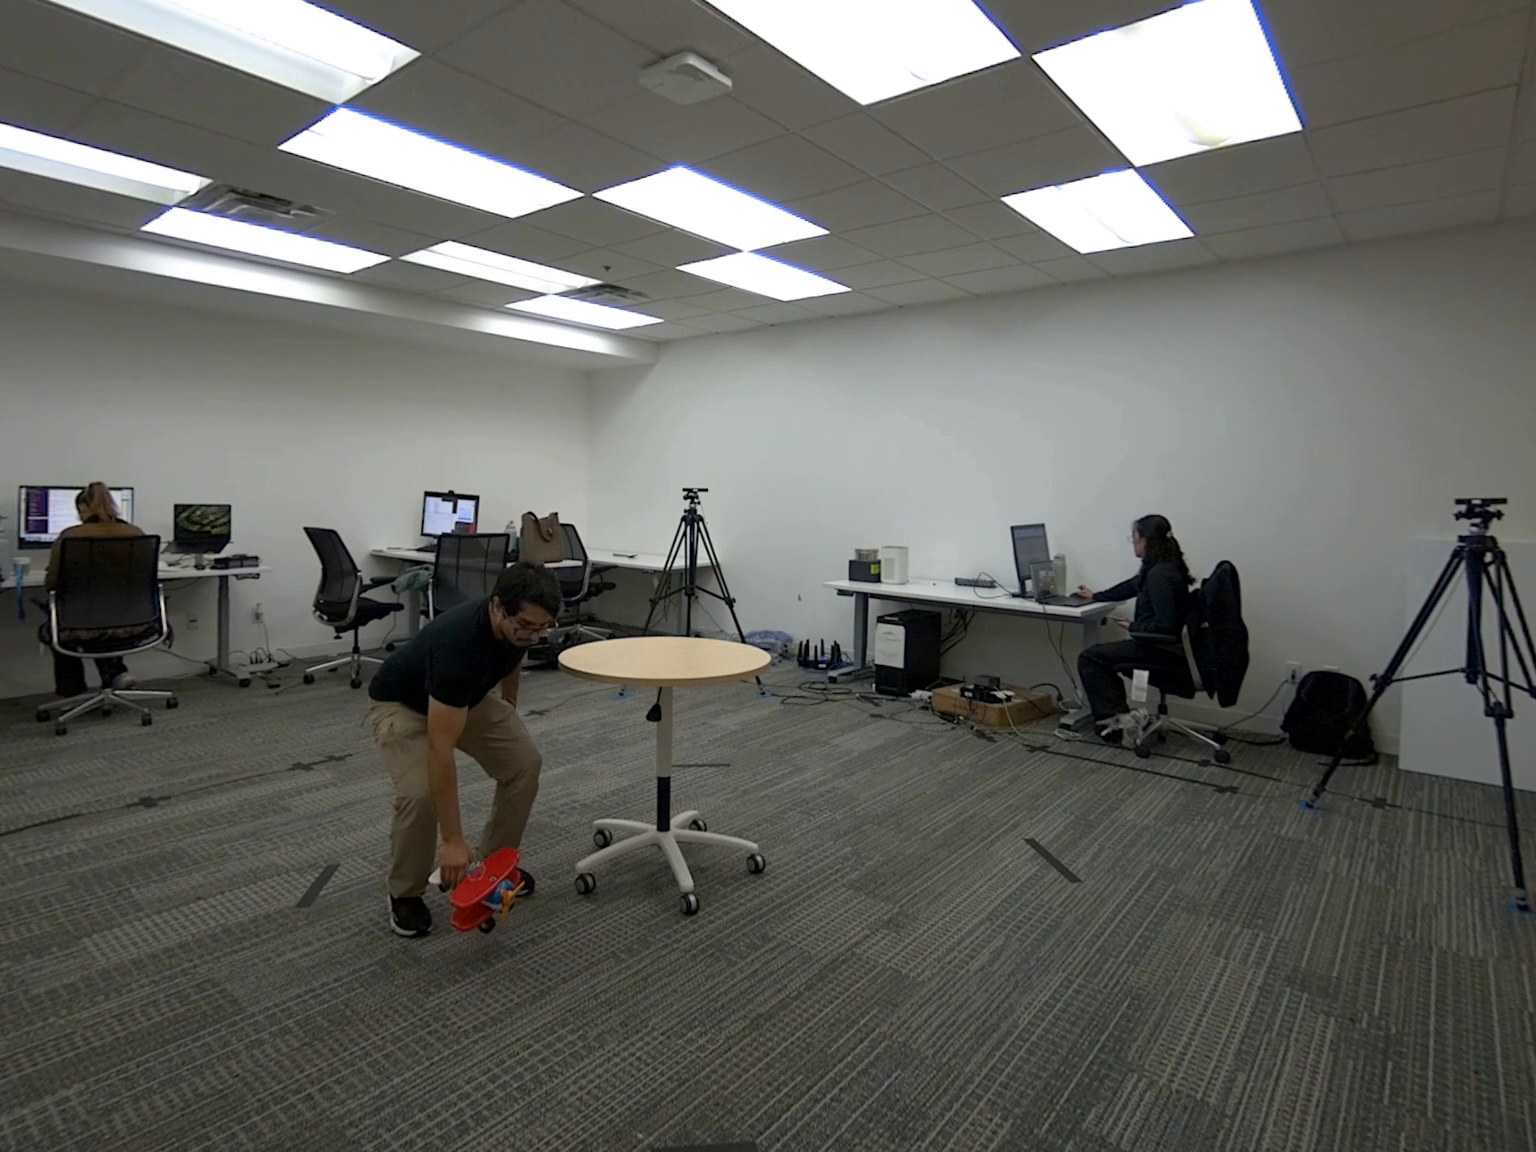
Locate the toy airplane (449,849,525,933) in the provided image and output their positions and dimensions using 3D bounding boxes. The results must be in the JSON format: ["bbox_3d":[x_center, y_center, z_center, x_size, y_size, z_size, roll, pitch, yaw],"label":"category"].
[{"bbox_3d":[-0.865,0.910,2.450,0.256,0.154,0.258,14,26,-11],"label":"toy airplane"}]
